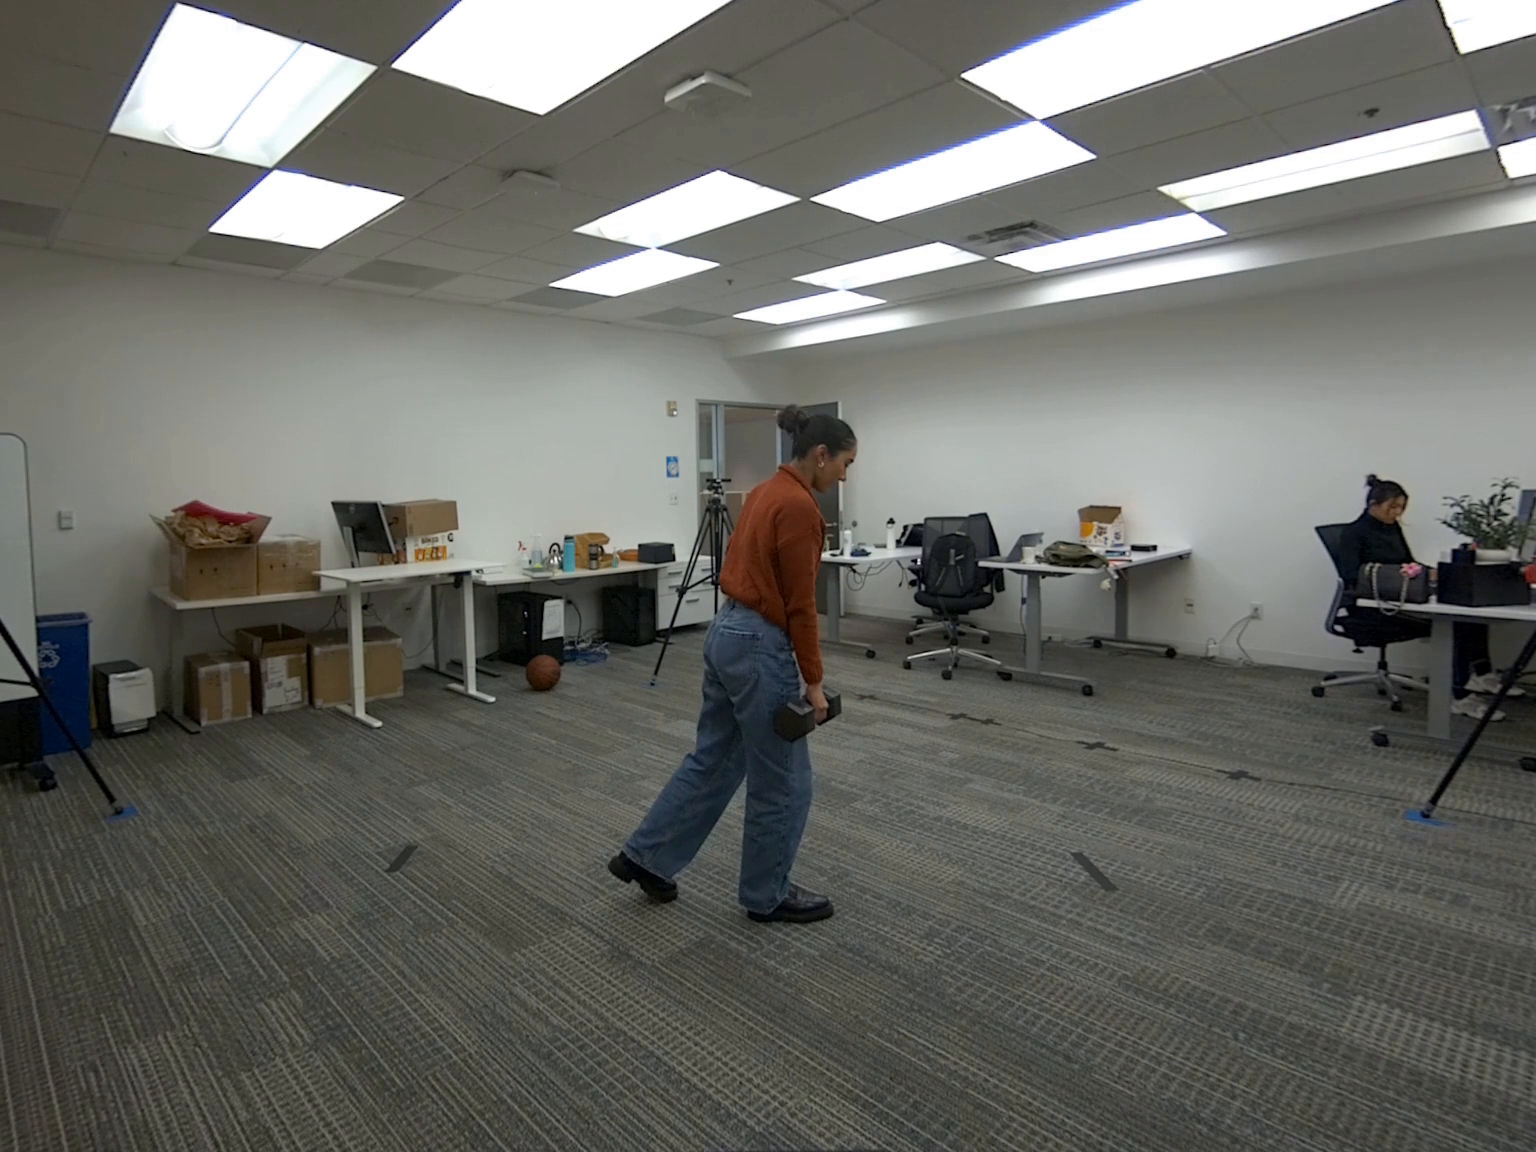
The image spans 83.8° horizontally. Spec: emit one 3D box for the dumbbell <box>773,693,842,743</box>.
[{"bbox_3d":[0.128,0.416,2.588,0.111,0.123,0.287,-6,2,29],"label":"dumbbell"}]
